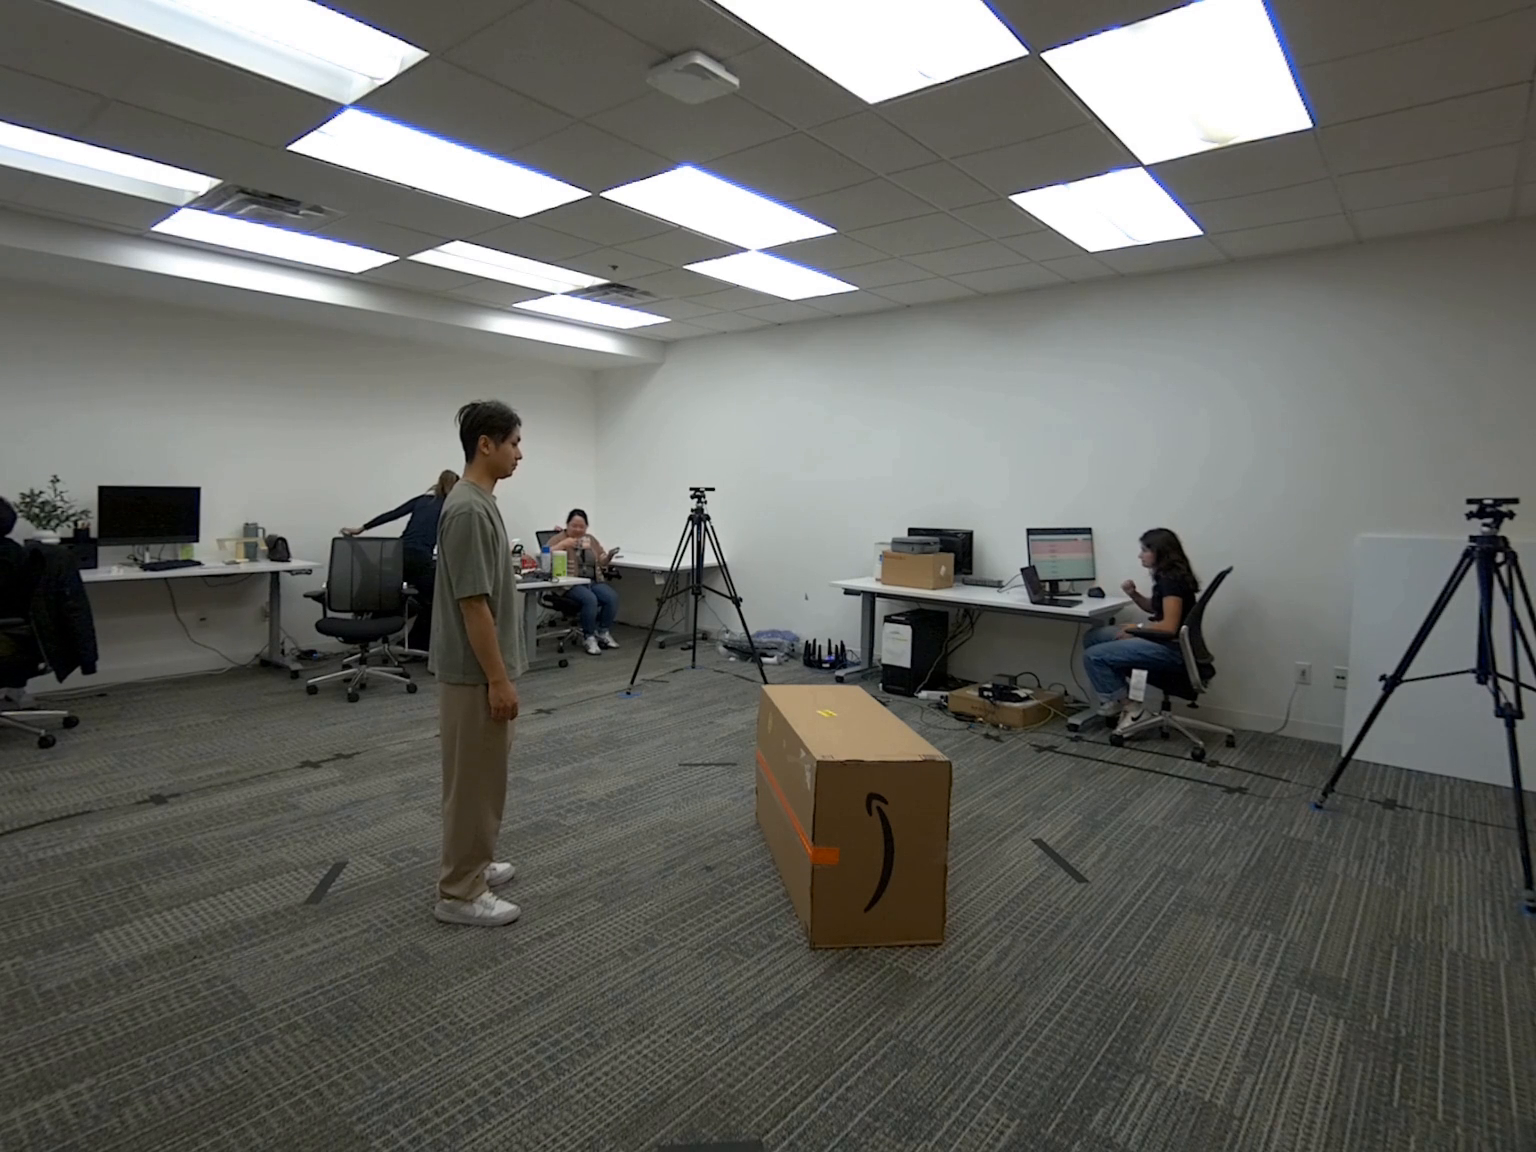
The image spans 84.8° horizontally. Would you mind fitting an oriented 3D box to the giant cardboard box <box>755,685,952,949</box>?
[{"bbox_3d":[0.244,0.789,3.085,0.422,0.575,1.039,2,5,-10],"label":"giant cardboard box"}]
